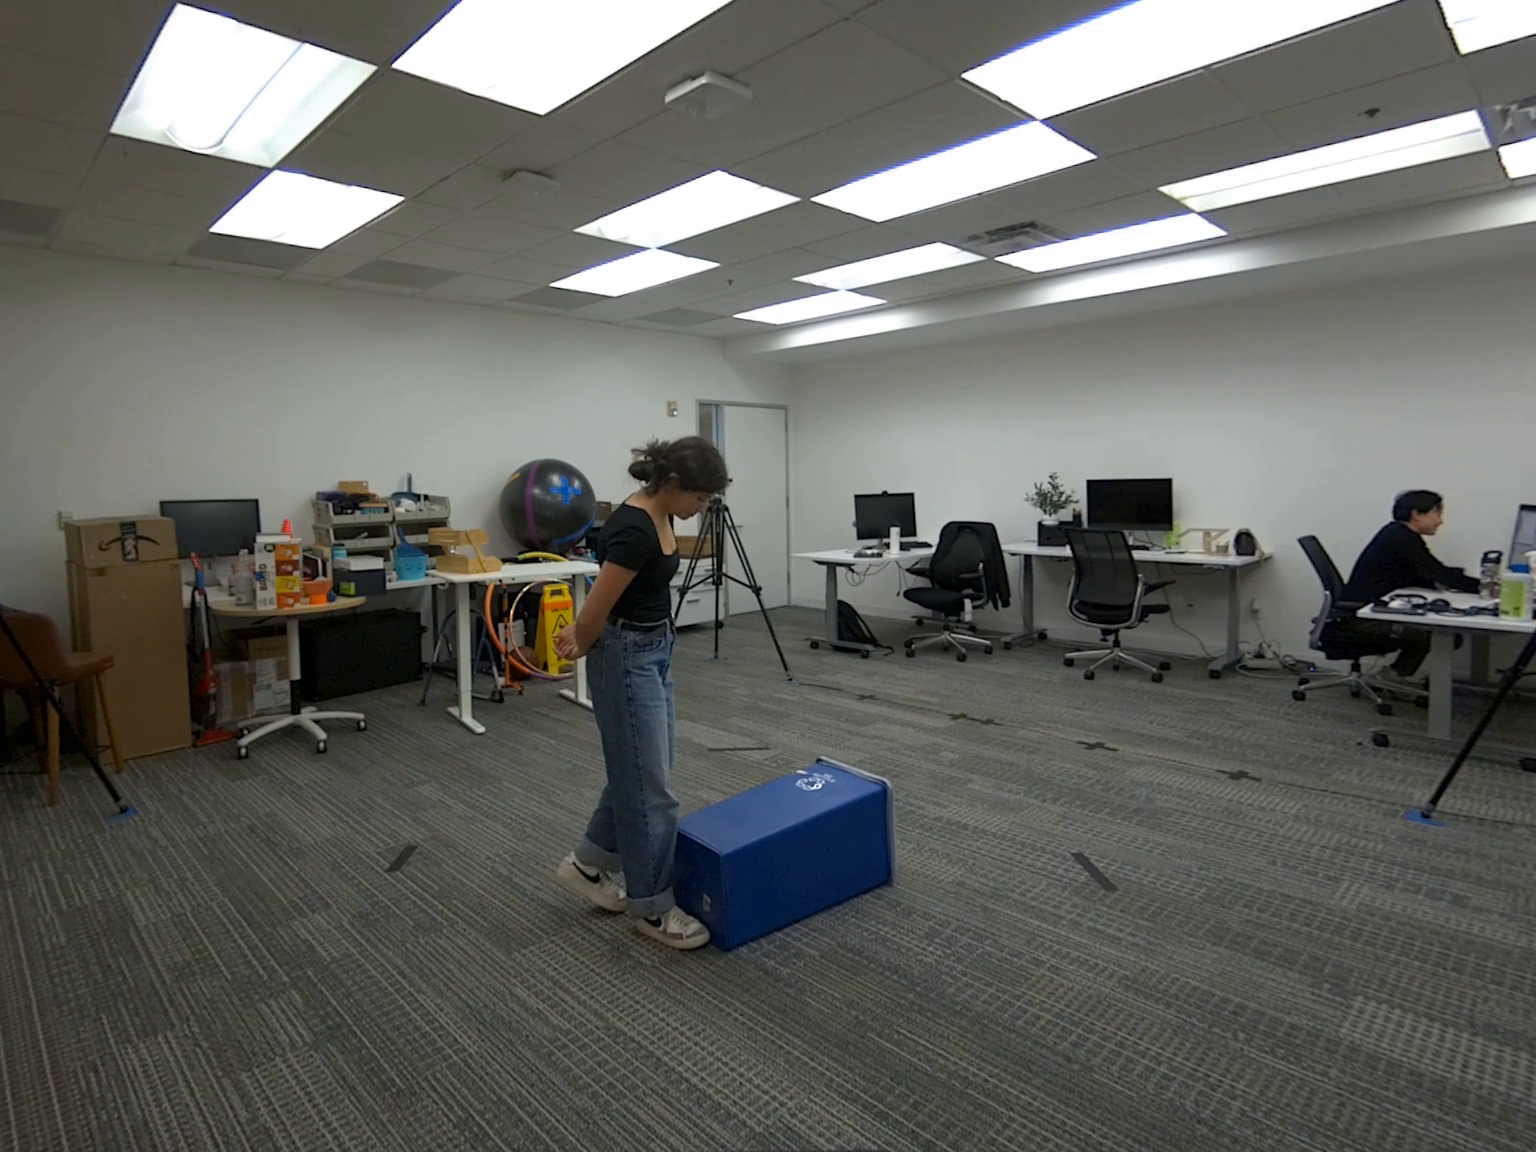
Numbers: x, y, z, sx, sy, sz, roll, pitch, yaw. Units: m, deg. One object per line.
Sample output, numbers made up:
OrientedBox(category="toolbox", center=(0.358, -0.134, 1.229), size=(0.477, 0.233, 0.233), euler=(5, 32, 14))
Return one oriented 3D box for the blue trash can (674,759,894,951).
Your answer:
OrientedBox(category="blue trash can", center=(0.051, 0.906, 2.837), size=(0.696, 0.376, 0.385), euler=(-9, 9, -38))
